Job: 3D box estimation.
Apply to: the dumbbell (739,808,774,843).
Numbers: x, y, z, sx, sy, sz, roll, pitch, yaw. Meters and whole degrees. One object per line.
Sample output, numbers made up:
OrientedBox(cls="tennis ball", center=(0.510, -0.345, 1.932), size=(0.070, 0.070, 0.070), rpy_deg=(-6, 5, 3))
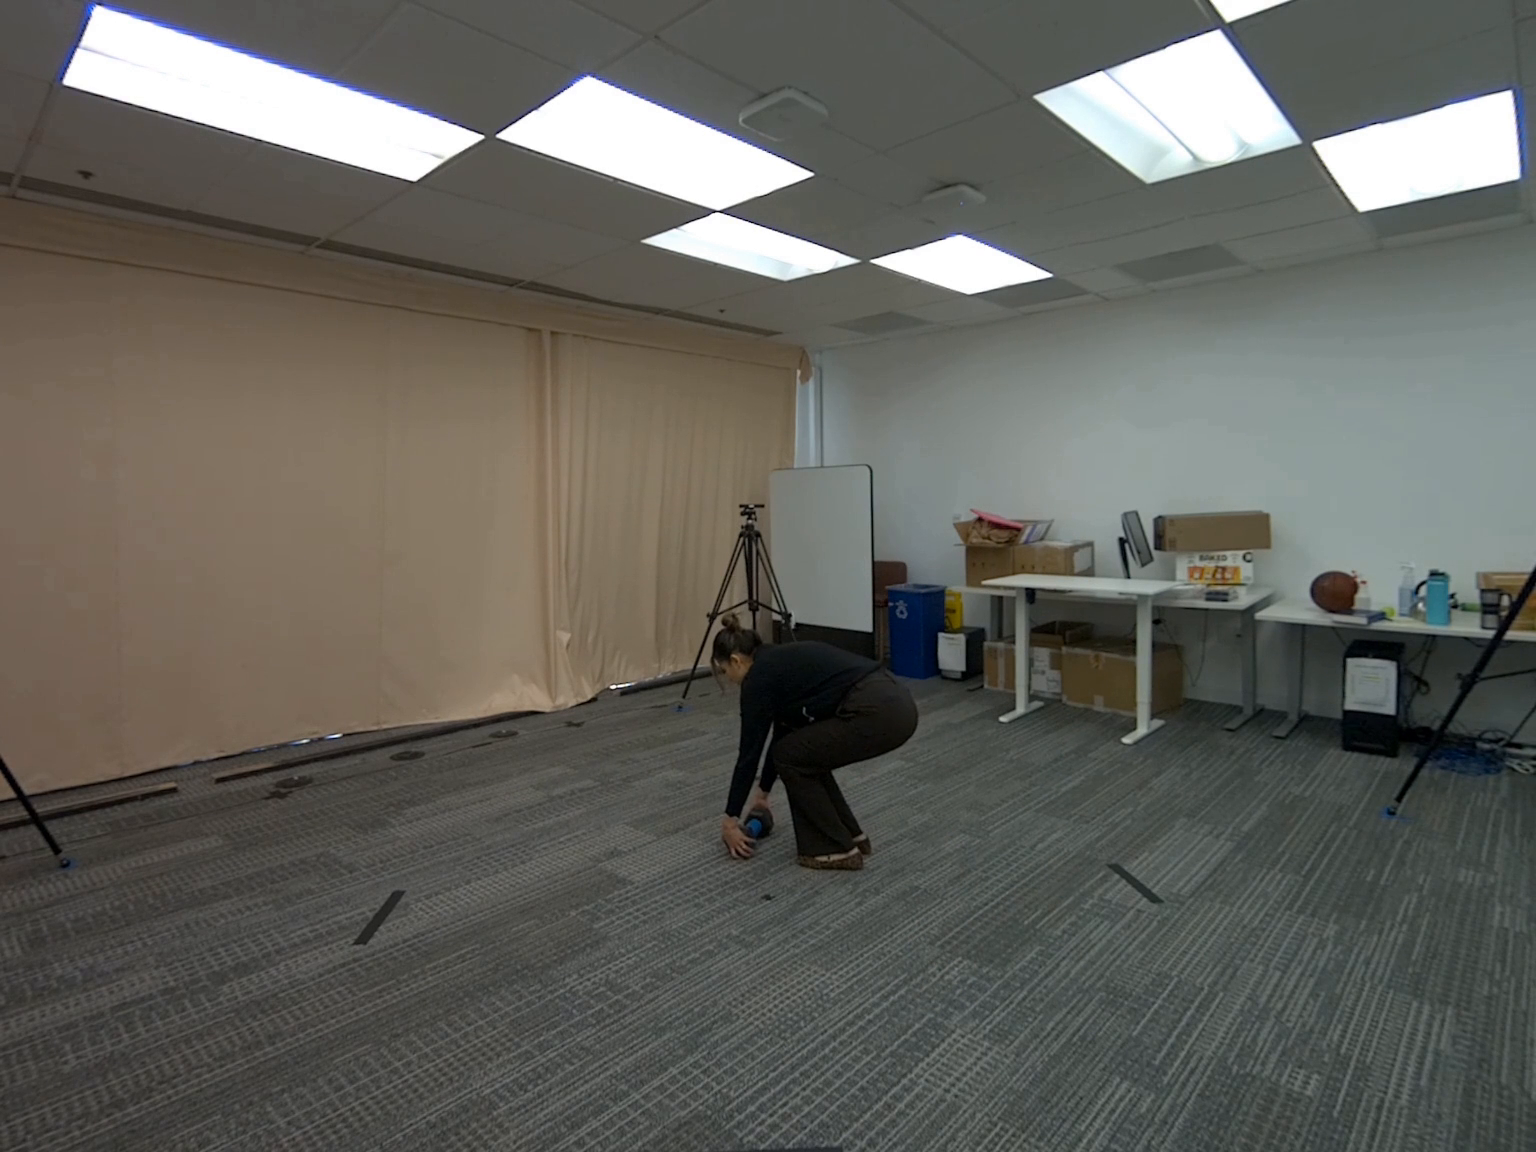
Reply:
OrientedBox(cls="dumbbell", center=(-0.070, 1.052, 3.458), size=(0.126, 0.108, 0.288), rpy_deg=(2, 6, 21))
